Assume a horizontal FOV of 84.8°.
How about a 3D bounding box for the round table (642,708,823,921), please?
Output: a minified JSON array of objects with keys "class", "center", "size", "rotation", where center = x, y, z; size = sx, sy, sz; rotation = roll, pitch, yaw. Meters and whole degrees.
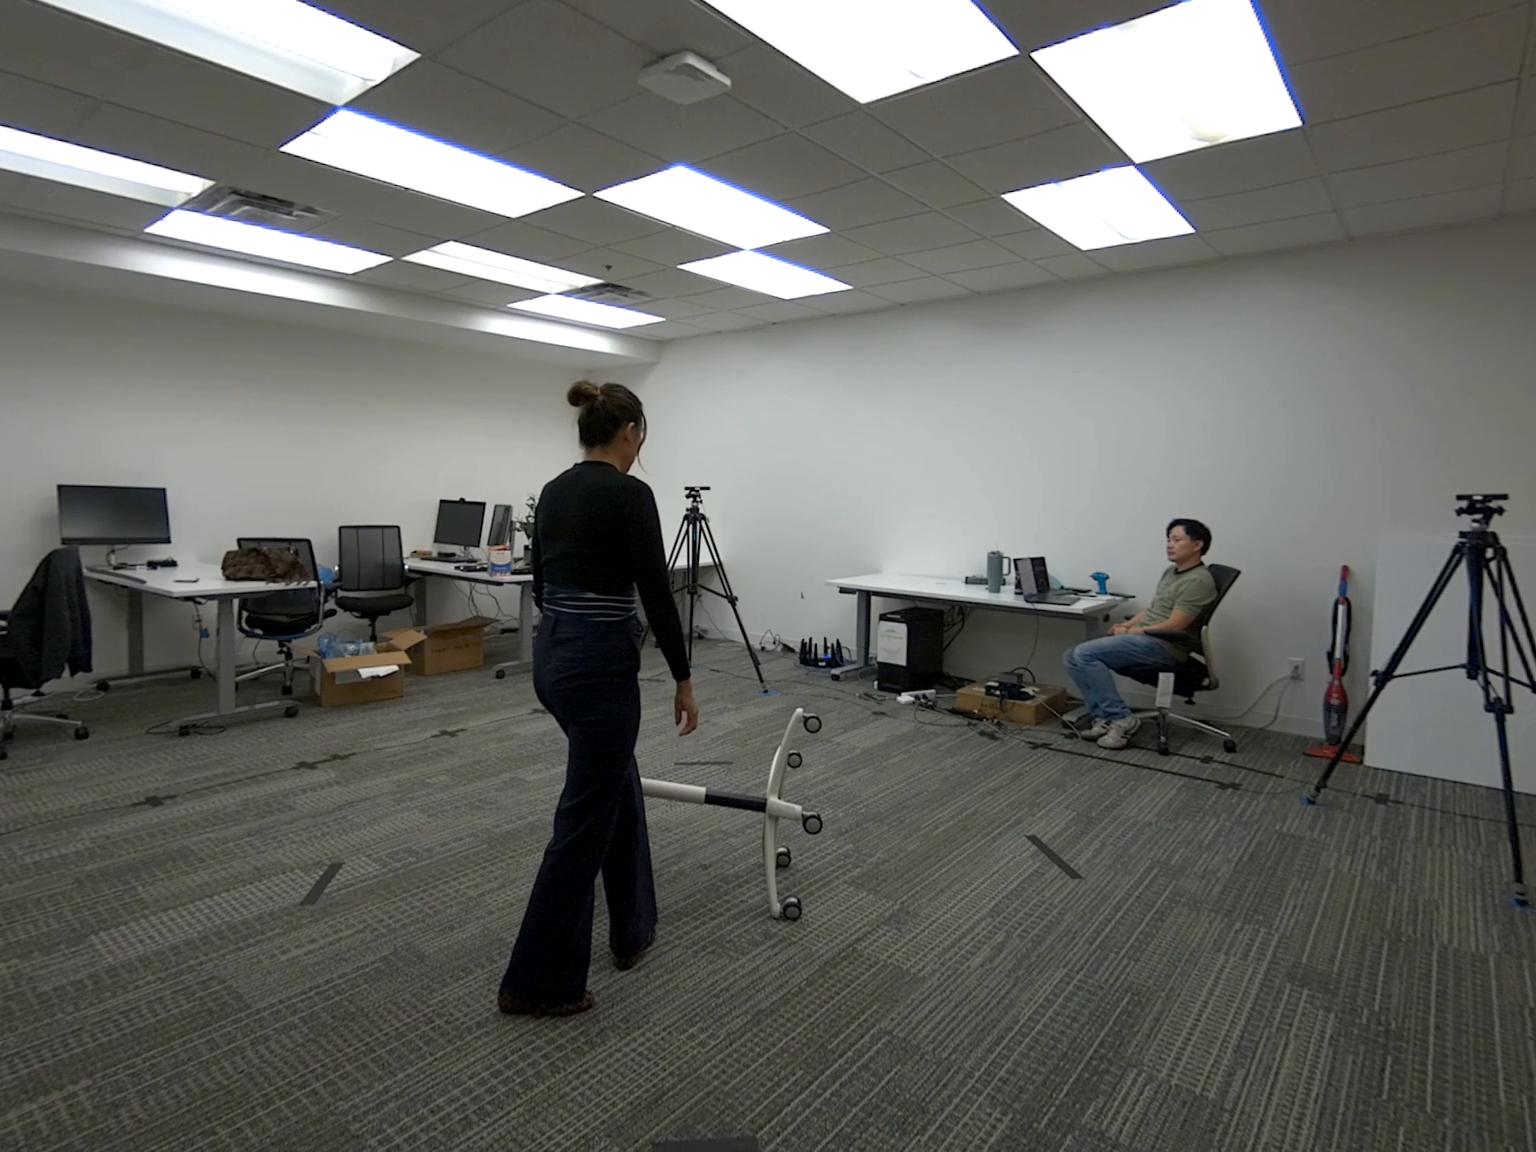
[{"class":"round table","center":[-0.269,0.754,2.940],"size":[0.793,0.762,0.768],"rotation":[7,4,-2]}]
